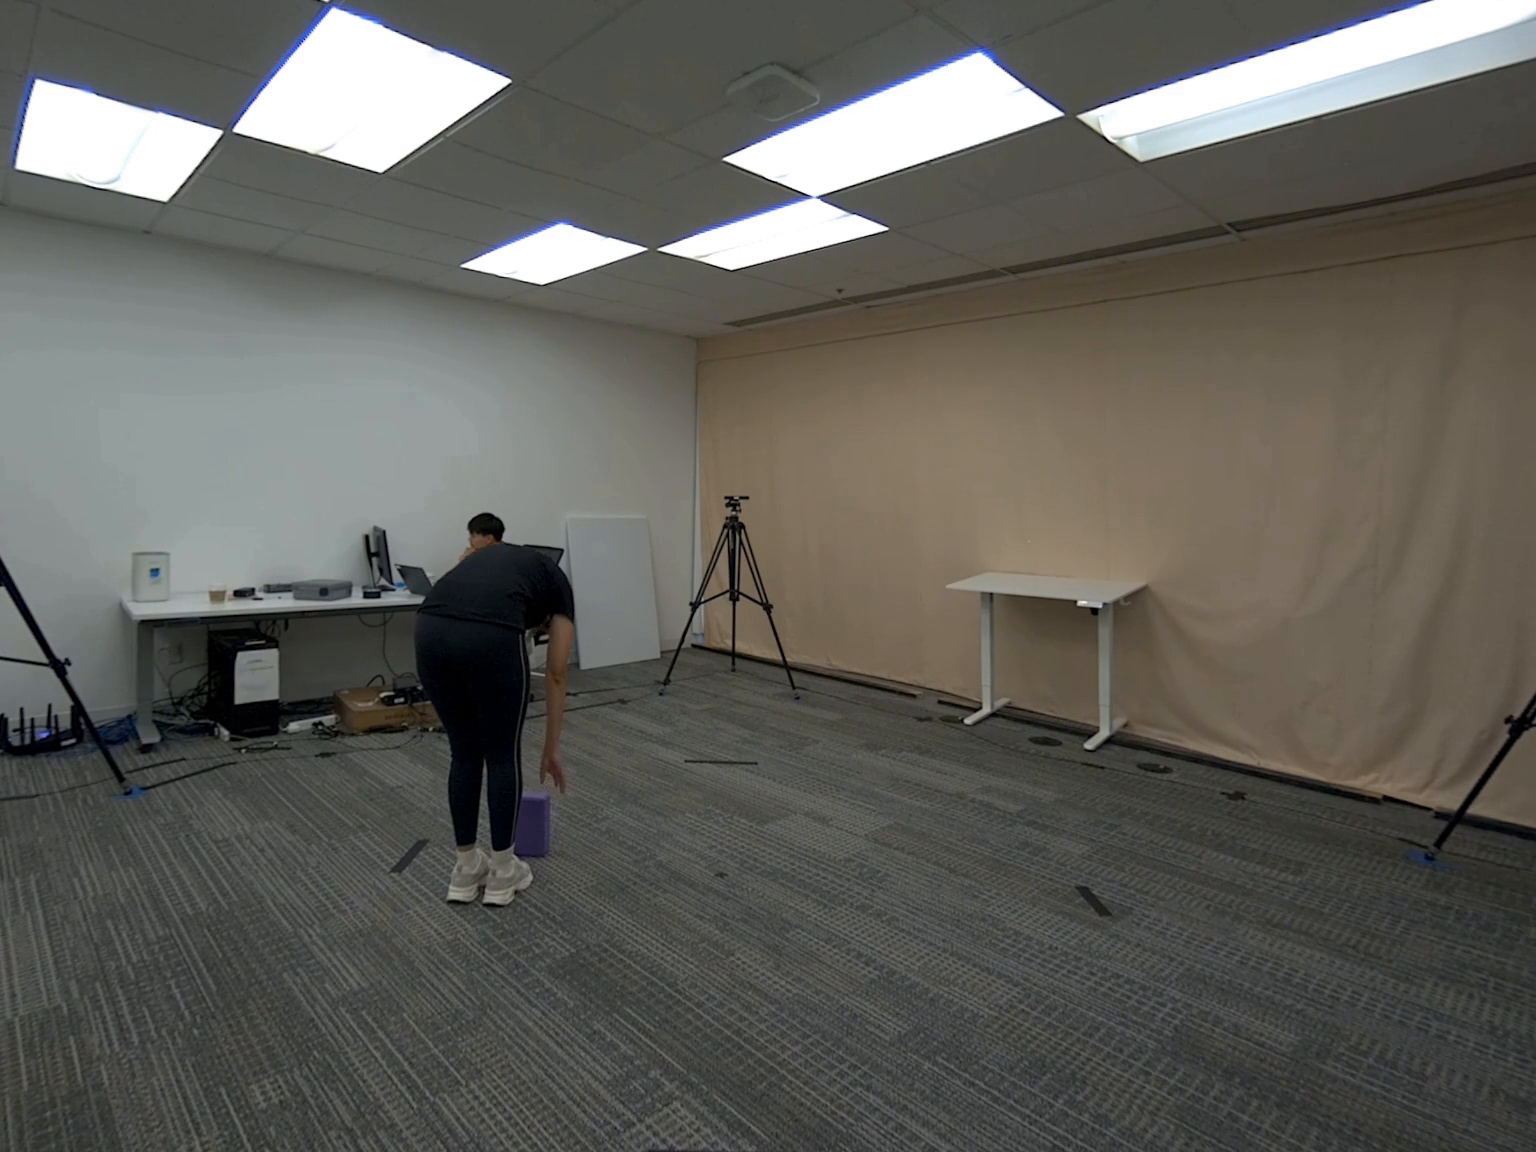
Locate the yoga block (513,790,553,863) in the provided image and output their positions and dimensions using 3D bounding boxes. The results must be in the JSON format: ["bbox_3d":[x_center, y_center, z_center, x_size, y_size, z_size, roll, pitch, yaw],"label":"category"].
[{"bbox_3d":[-0.929,0.957,3.254,0.150,0.229,0.076,3,3,5],"label":"yoga block"}]
